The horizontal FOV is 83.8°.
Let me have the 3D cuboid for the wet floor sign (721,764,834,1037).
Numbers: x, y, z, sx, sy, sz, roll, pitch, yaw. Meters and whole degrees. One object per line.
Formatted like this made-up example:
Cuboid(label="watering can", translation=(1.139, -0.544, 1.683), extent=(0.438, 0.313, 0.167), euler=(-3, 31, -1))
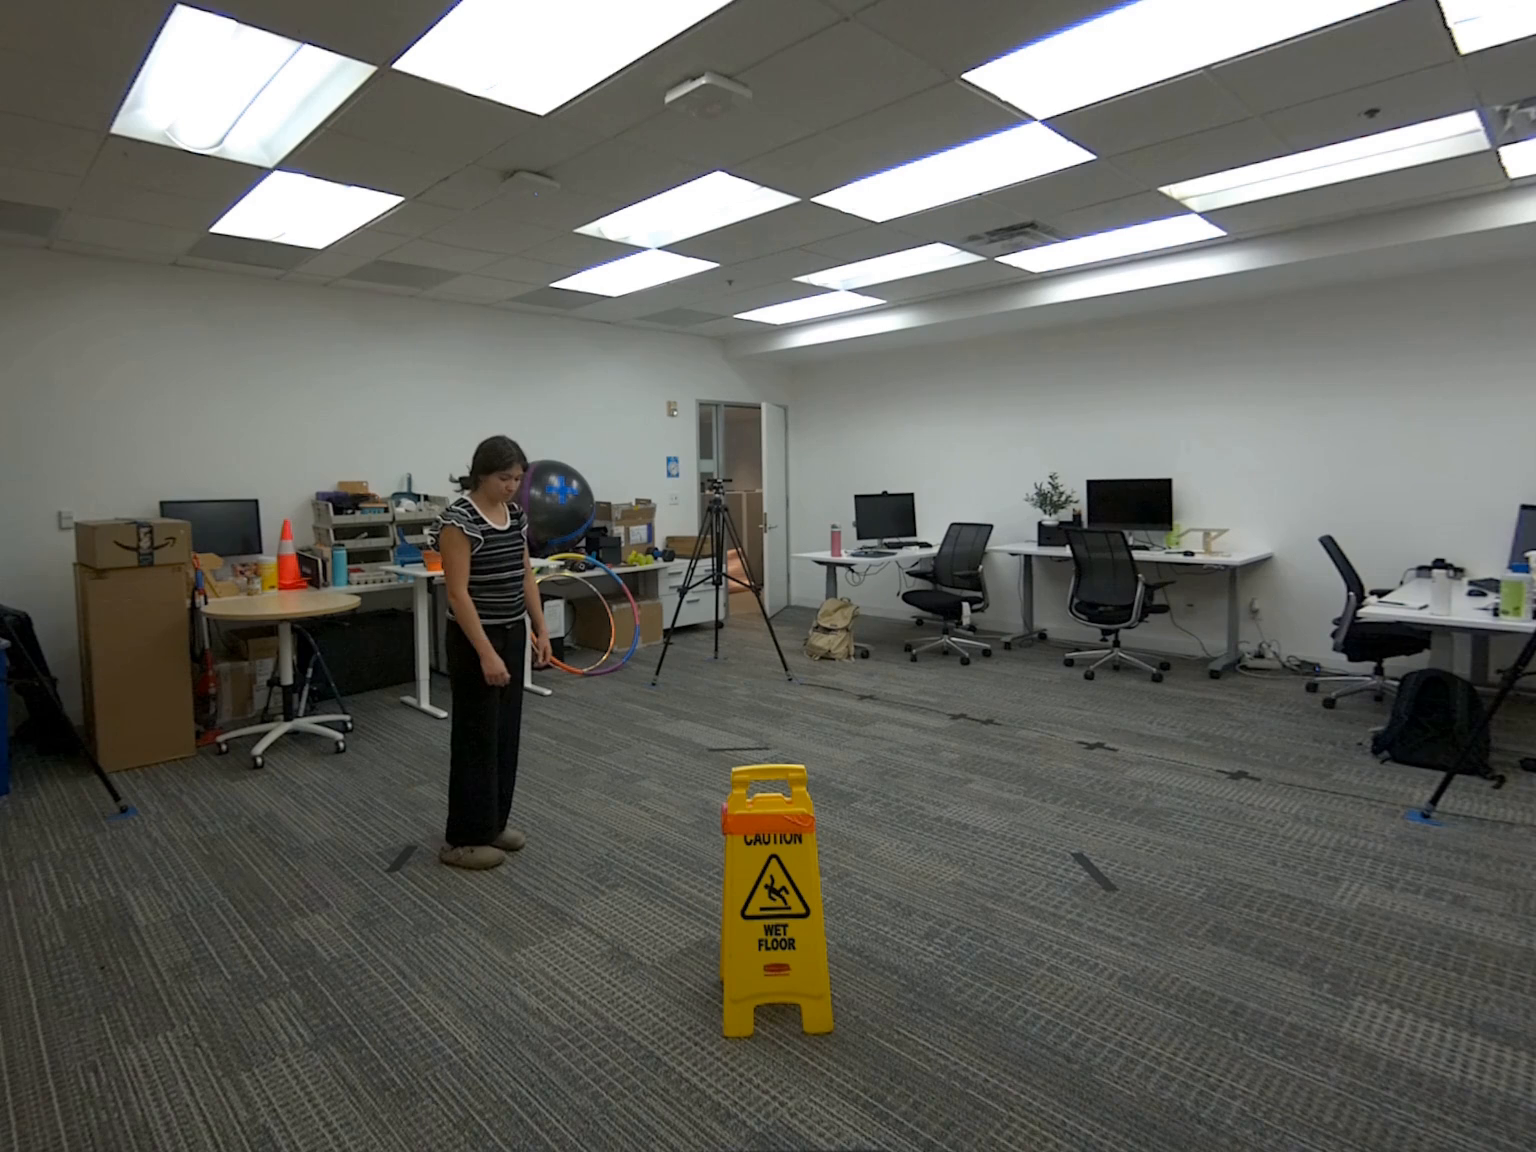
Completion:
Cuboid(label="wet floor sign", translation=(0.011, 0.819, 2.243), extent=(0.281, 0.644, 0.291), euler=(-2, 4, -3))
